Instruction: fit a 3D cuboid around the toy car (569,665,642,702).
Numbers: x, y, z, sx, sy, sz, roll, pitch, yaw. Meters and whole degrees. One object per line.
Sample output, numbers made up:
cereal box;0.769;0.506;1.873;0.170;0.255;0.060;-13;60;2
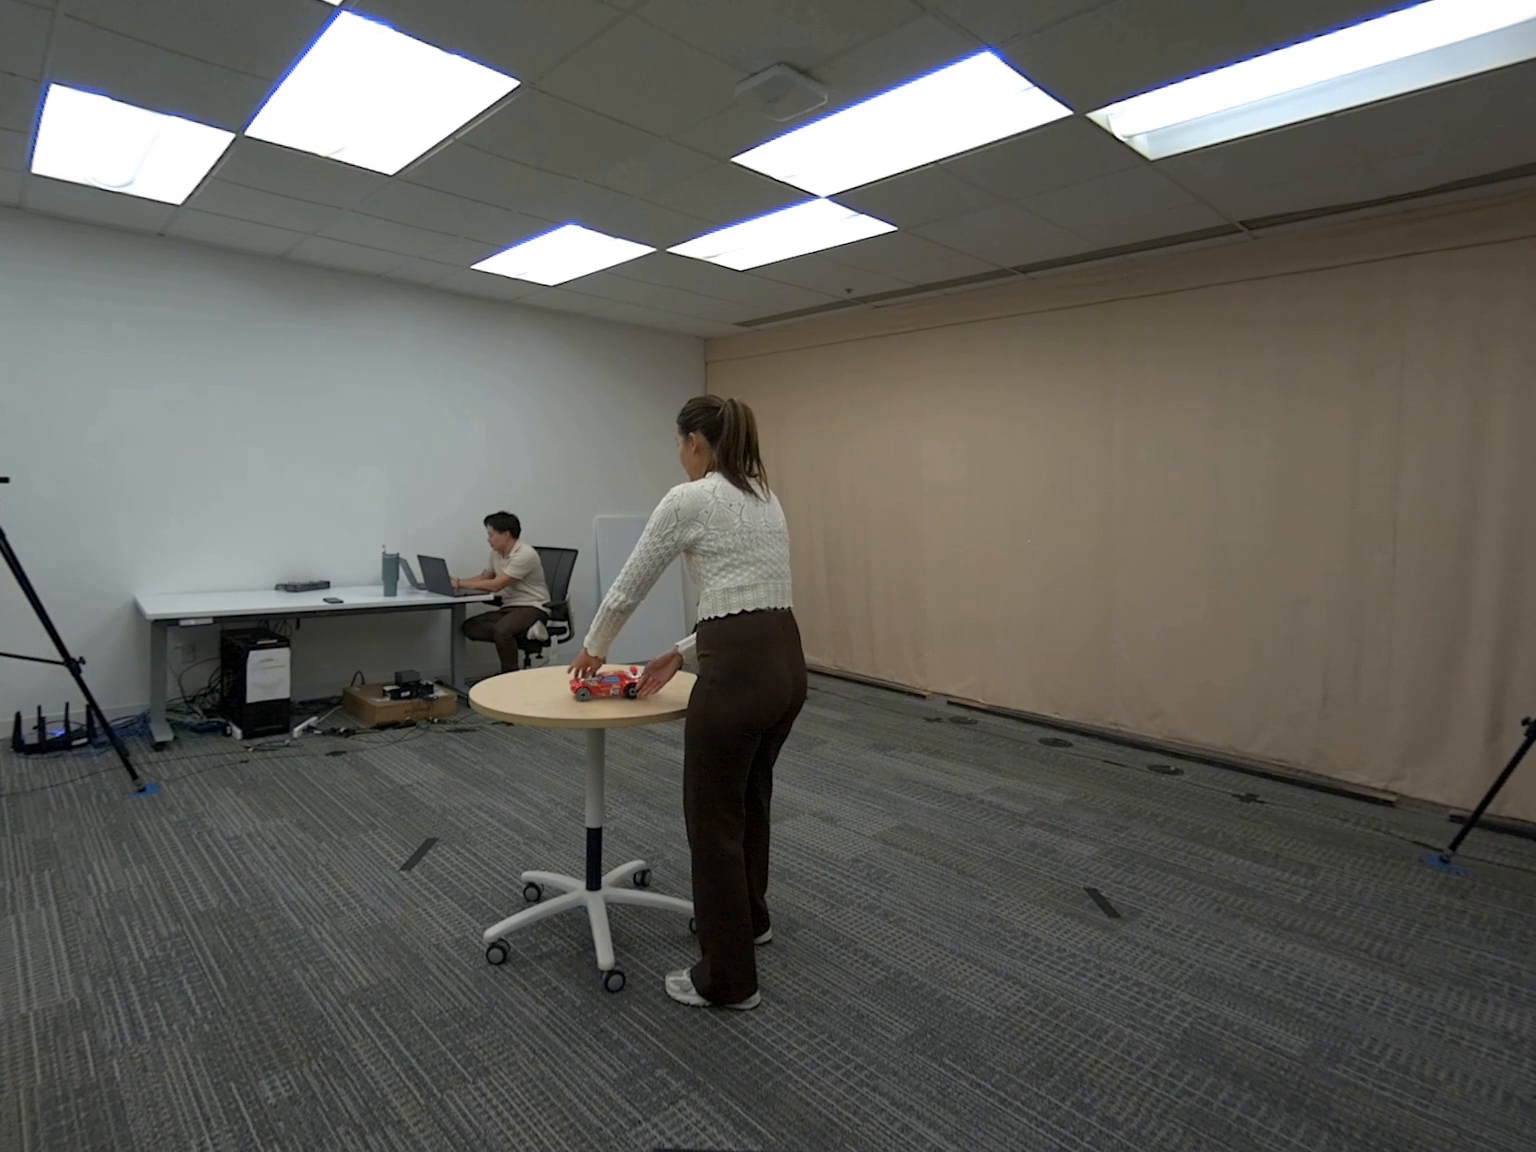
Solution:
toy car;-0.477;0.333;2.529;0.252;0.083;0.132;-13;8;-13
